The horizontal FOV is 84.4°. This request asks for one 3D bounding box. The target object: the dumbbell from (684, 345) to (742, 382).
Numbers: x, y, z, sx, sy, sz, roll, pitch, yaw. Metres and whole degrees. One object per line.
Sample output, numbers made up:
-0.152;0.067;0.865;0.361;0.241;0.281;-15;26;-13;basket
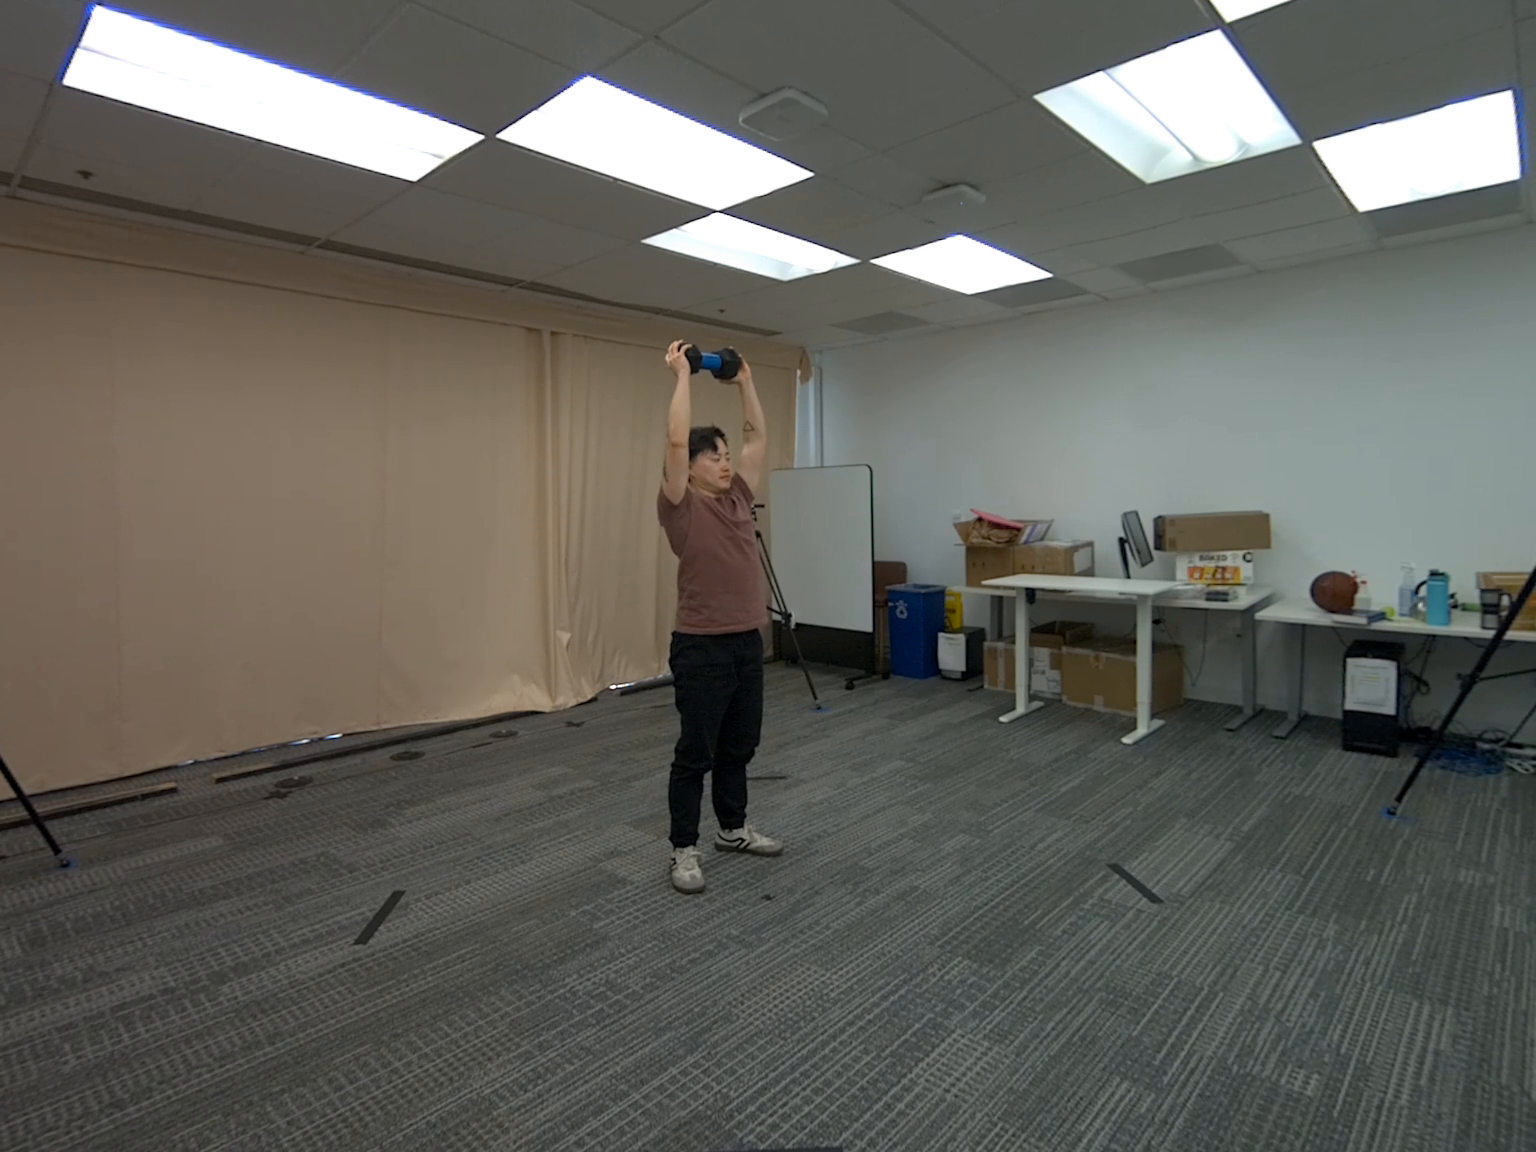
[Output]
-0.226;-0.802;3.158;0.285;0.125;0.109;-8;-30;-47;dumbbell
